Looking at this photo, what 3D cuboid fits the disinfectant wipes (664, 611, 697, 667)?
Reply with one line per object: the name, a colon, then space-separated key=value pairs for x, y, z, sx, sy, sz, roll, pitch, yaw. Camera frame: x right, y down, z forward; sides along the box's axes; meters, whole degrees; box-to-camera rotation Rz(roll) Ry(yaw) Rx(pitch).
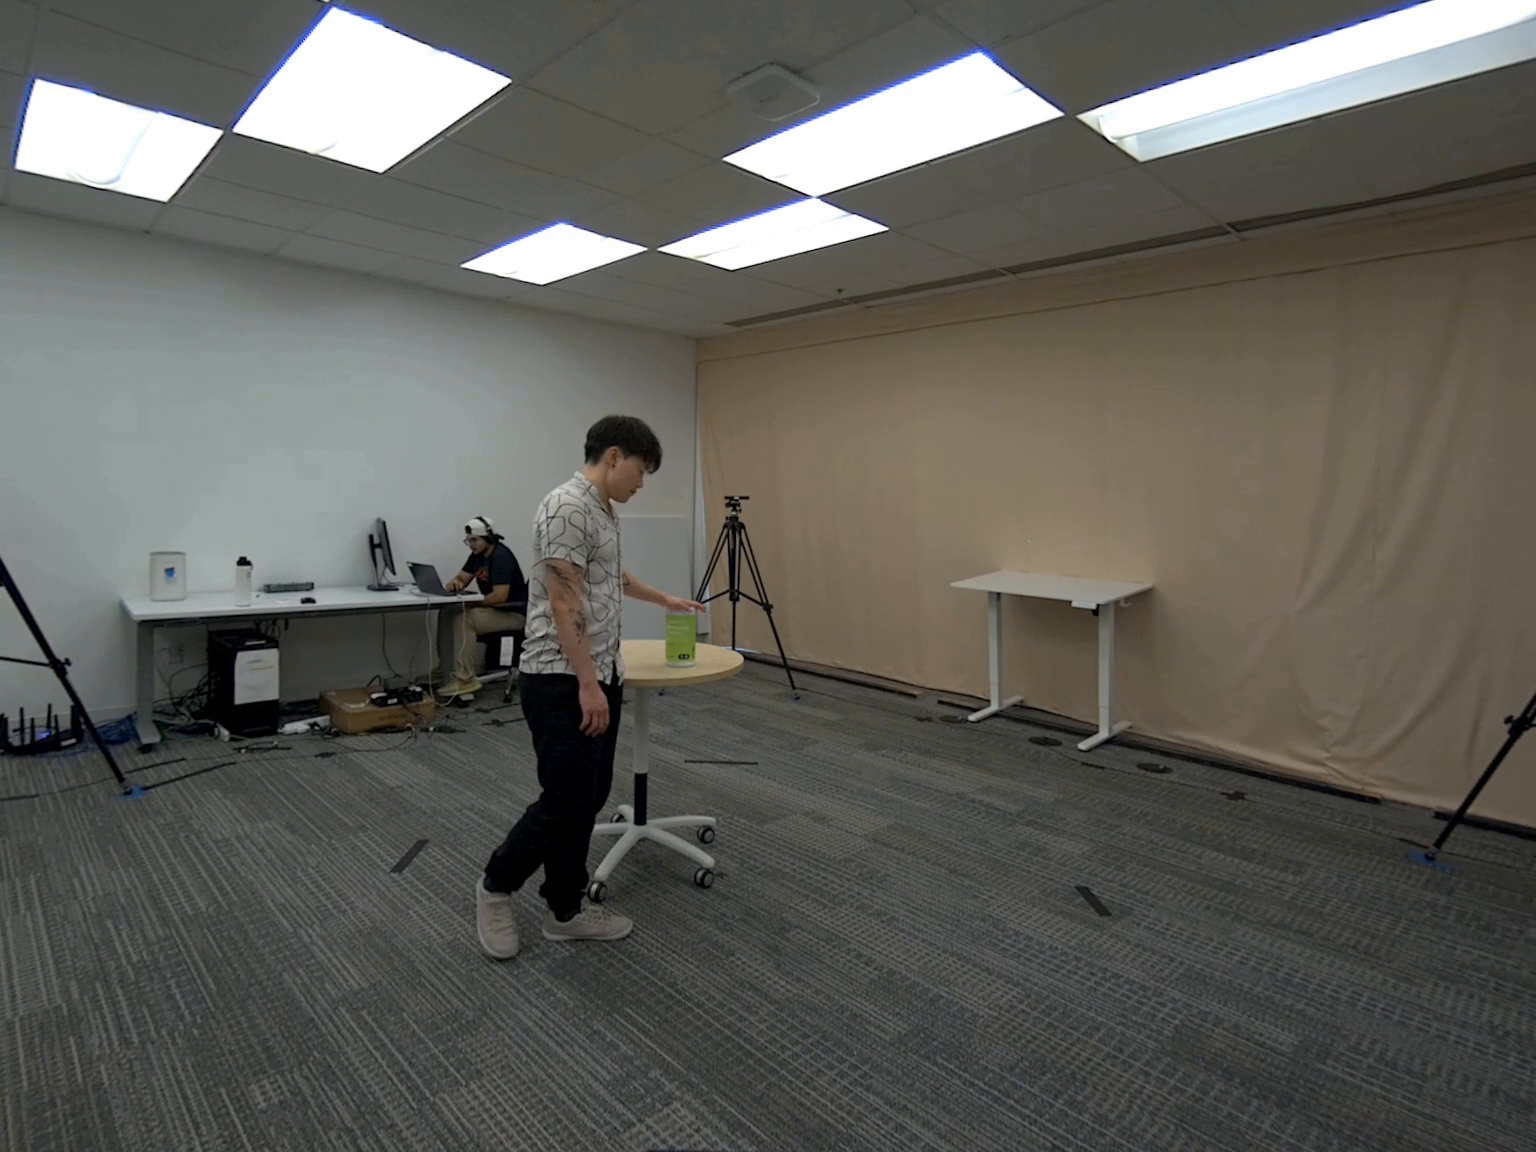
disinfectant wipes: x=-0.327 y=0.221 z=3.052 sx=0.118 sy=0.217 sz=0.118 roll=2 pitch=5 yaw=-2
